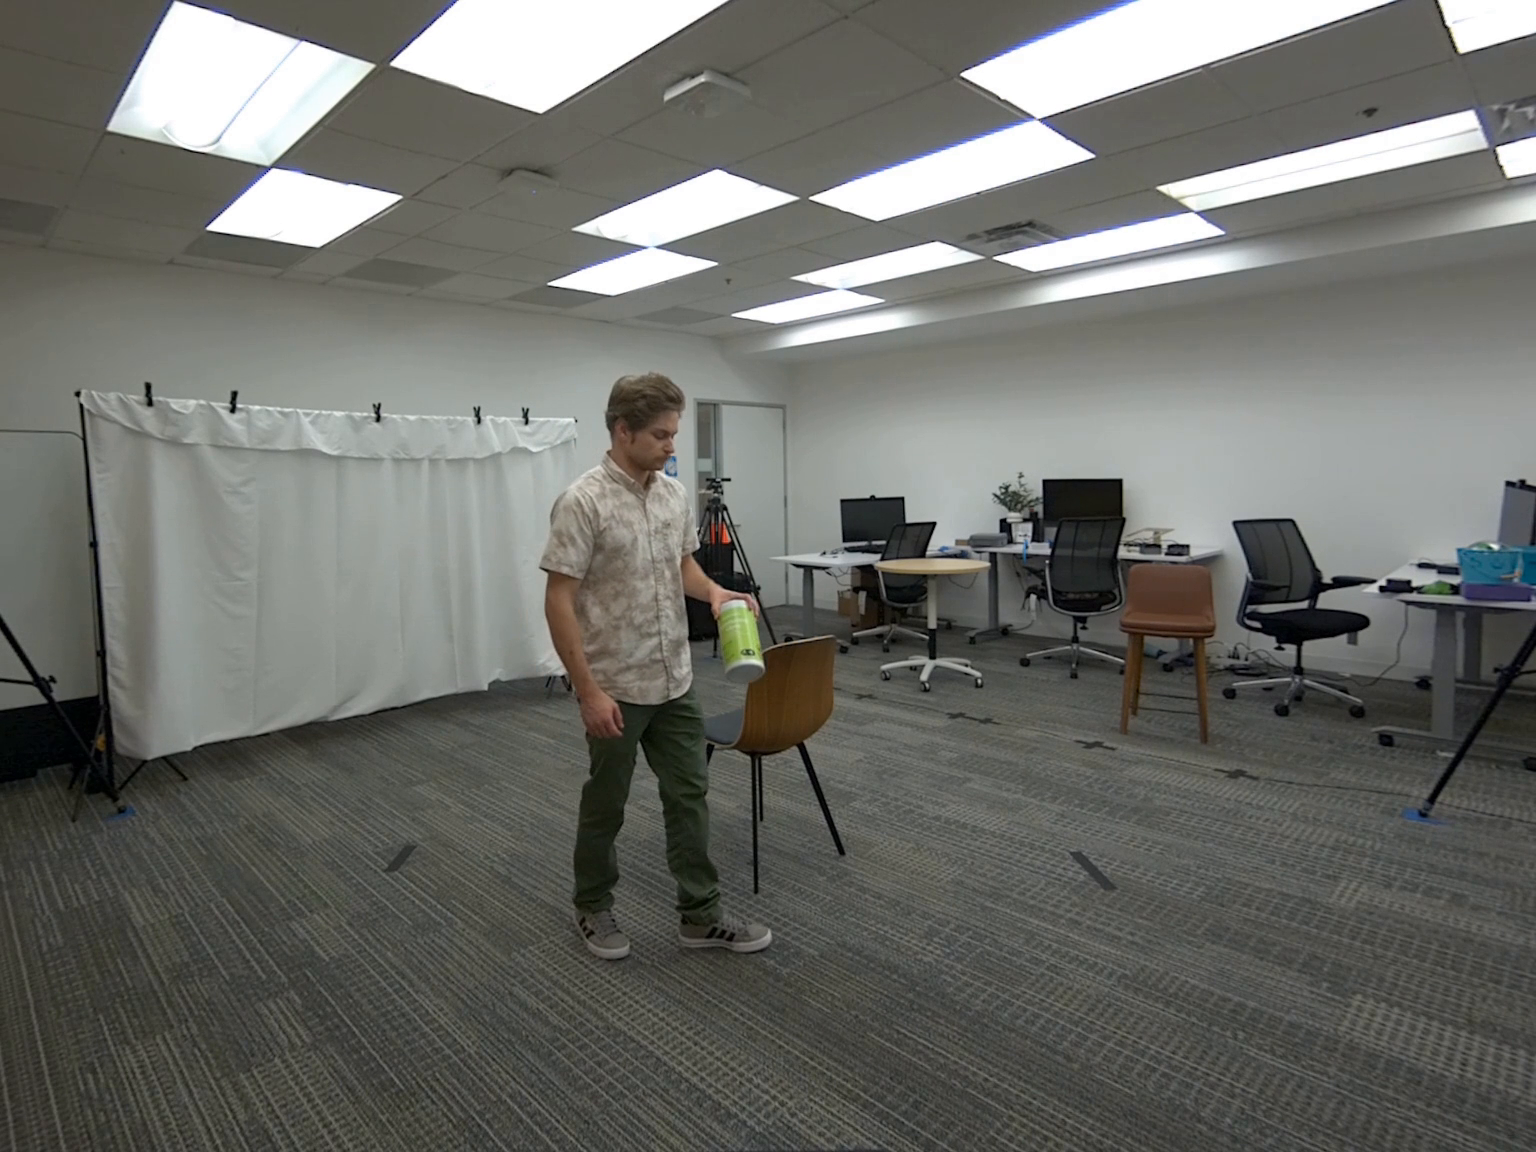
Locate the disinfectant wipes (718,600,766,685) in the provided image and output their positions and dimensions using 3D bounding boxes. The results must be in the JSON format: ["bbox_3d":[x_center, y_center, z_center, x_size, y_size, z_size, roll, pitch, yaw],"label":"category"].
[{"bbox_3d":[-0.090,0.187,2.409,0.117,0.224,0.115,-6,-36,-6],"label":"disinfectant wipes"}]
